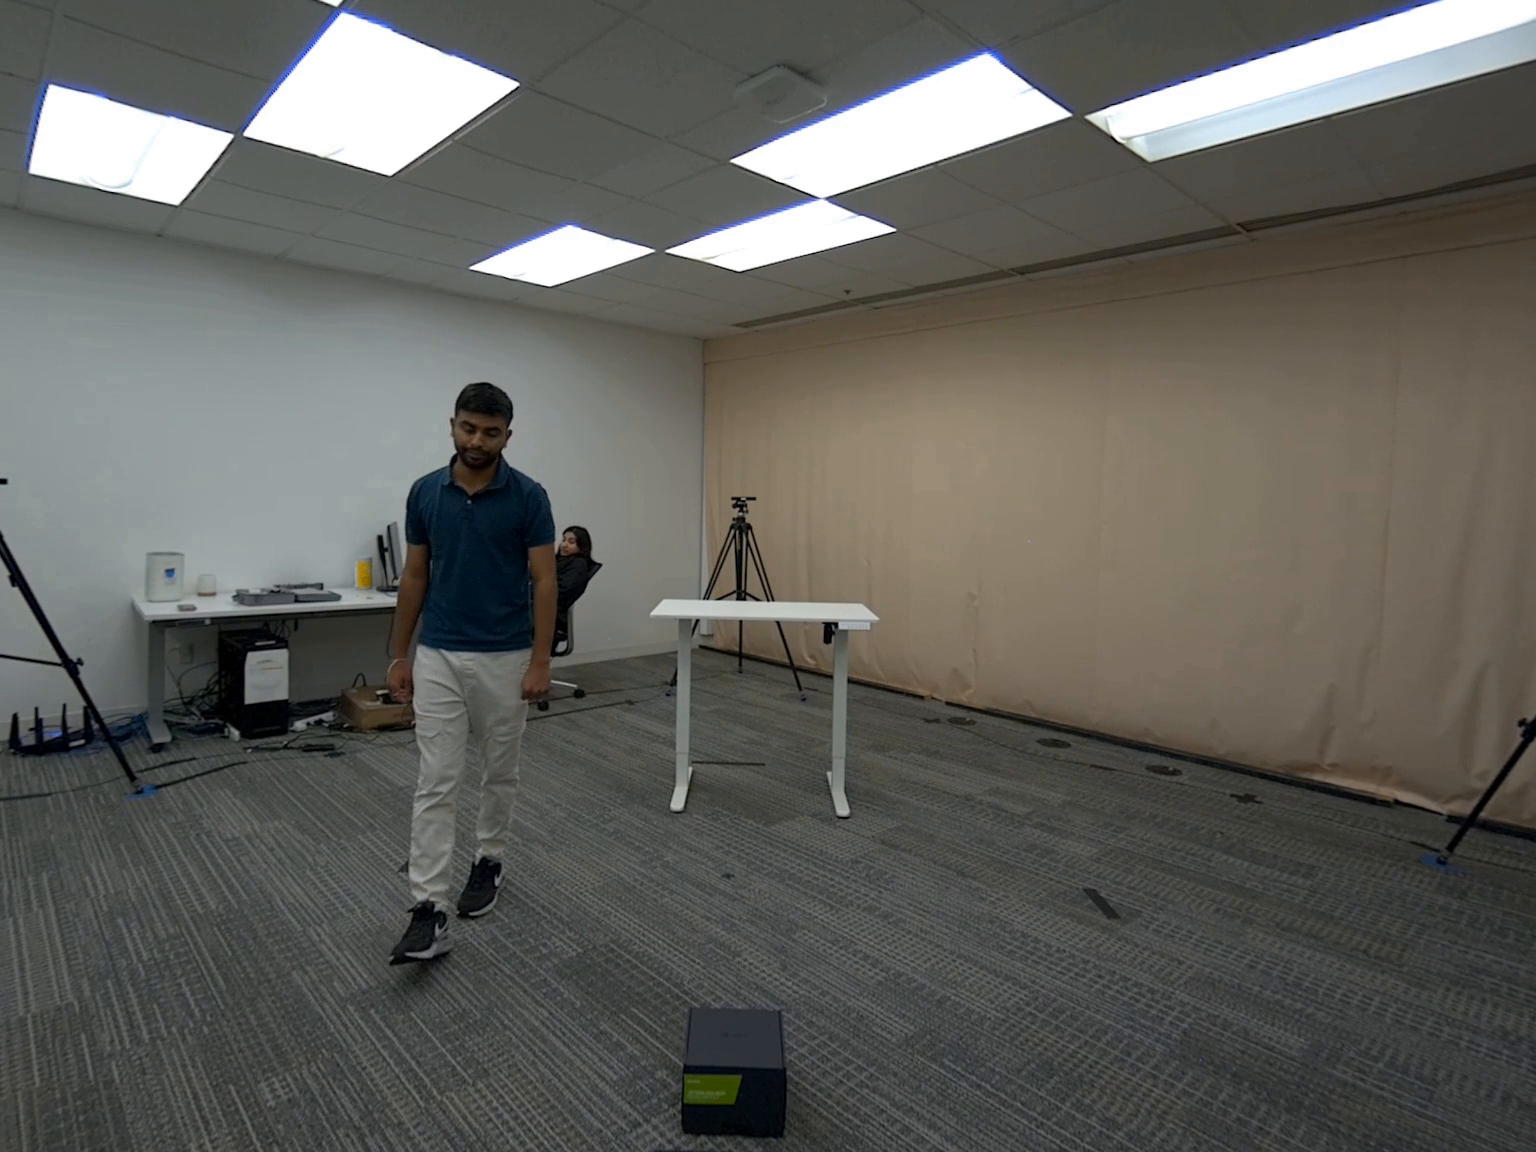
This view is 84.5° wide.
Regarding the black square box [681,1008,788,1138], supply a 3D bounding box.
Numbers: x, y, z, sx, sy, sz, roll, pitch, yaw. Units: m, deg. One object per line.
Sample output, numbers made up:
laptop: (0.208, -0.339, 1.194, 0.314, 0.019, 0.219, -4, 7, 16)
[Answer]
black square box: (-0.081, 1.135, 1.936, 0.228, 0.155, 0.218, 1, 4, -1)
